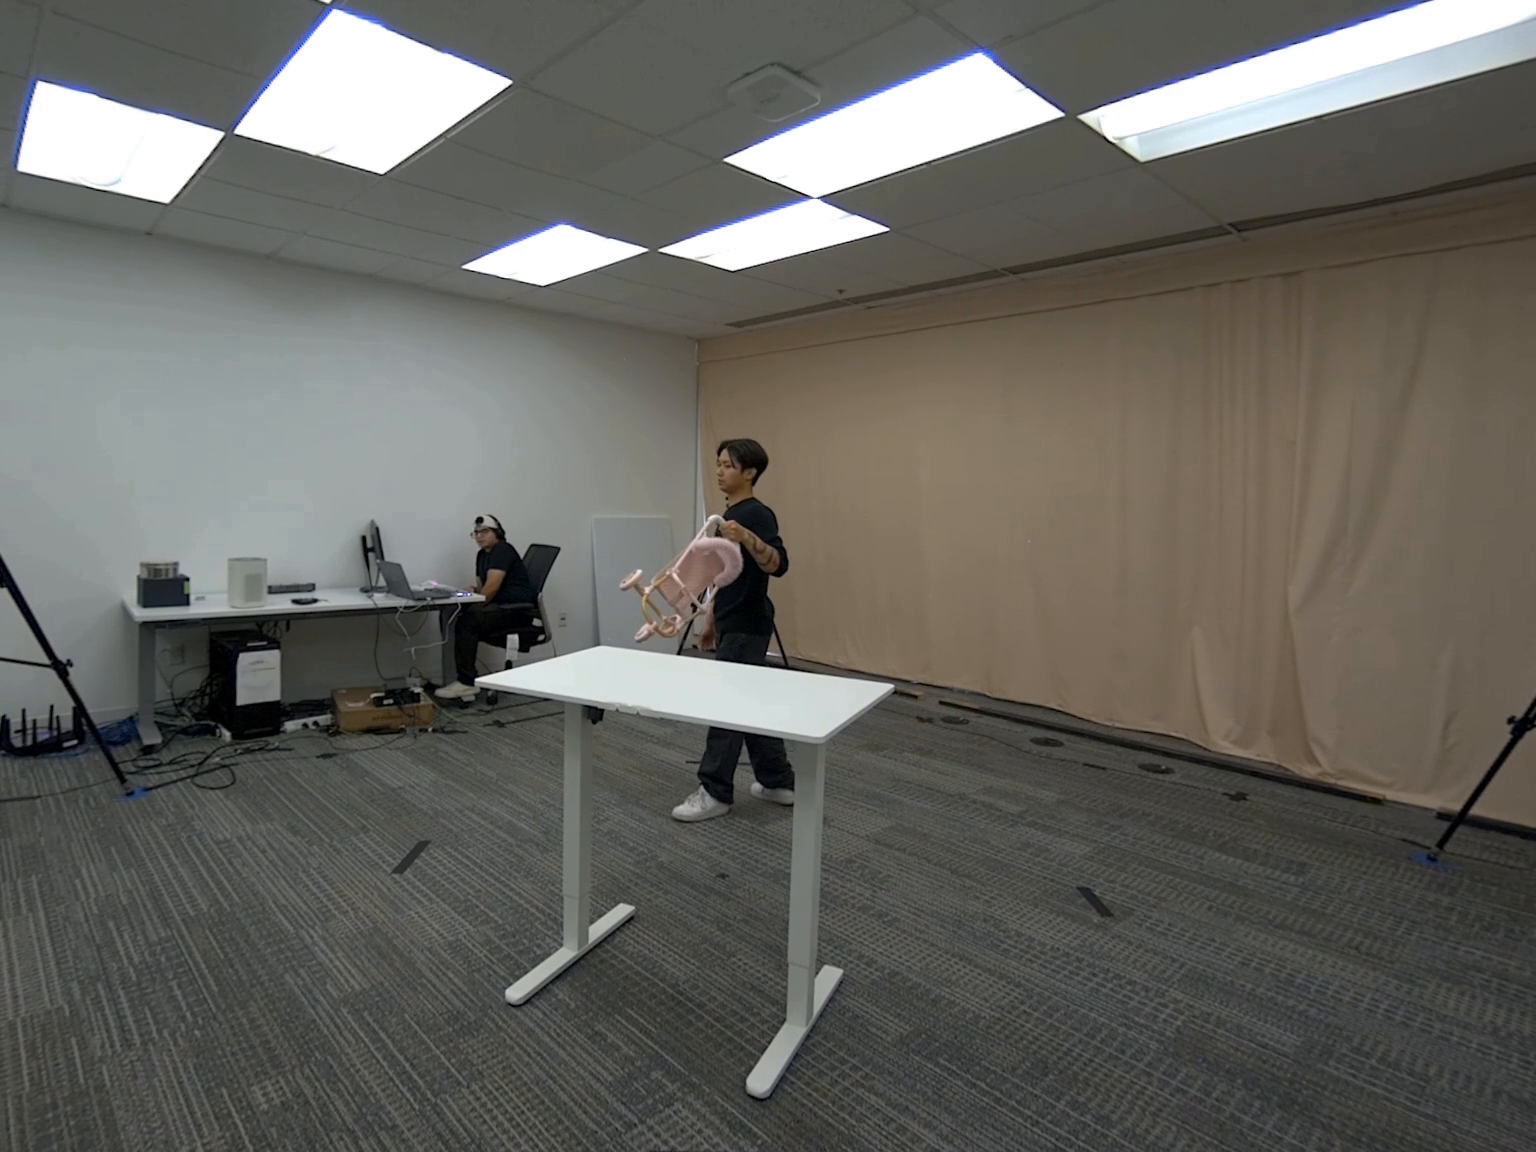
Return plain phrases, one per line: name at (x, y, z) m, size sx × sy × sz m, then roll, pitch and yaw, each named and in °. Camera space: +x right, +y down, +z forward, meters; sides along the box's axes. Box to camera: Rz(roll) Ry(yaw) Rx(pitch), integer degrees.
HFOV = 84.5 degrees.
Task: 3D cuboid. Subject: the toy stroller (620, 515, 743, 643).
toy stroller at (-0.319, 0.031, 3.186) m, size 0.535 × 0.276 × 0.347 m, roll -40°, pitch 17°, yaw -2°
